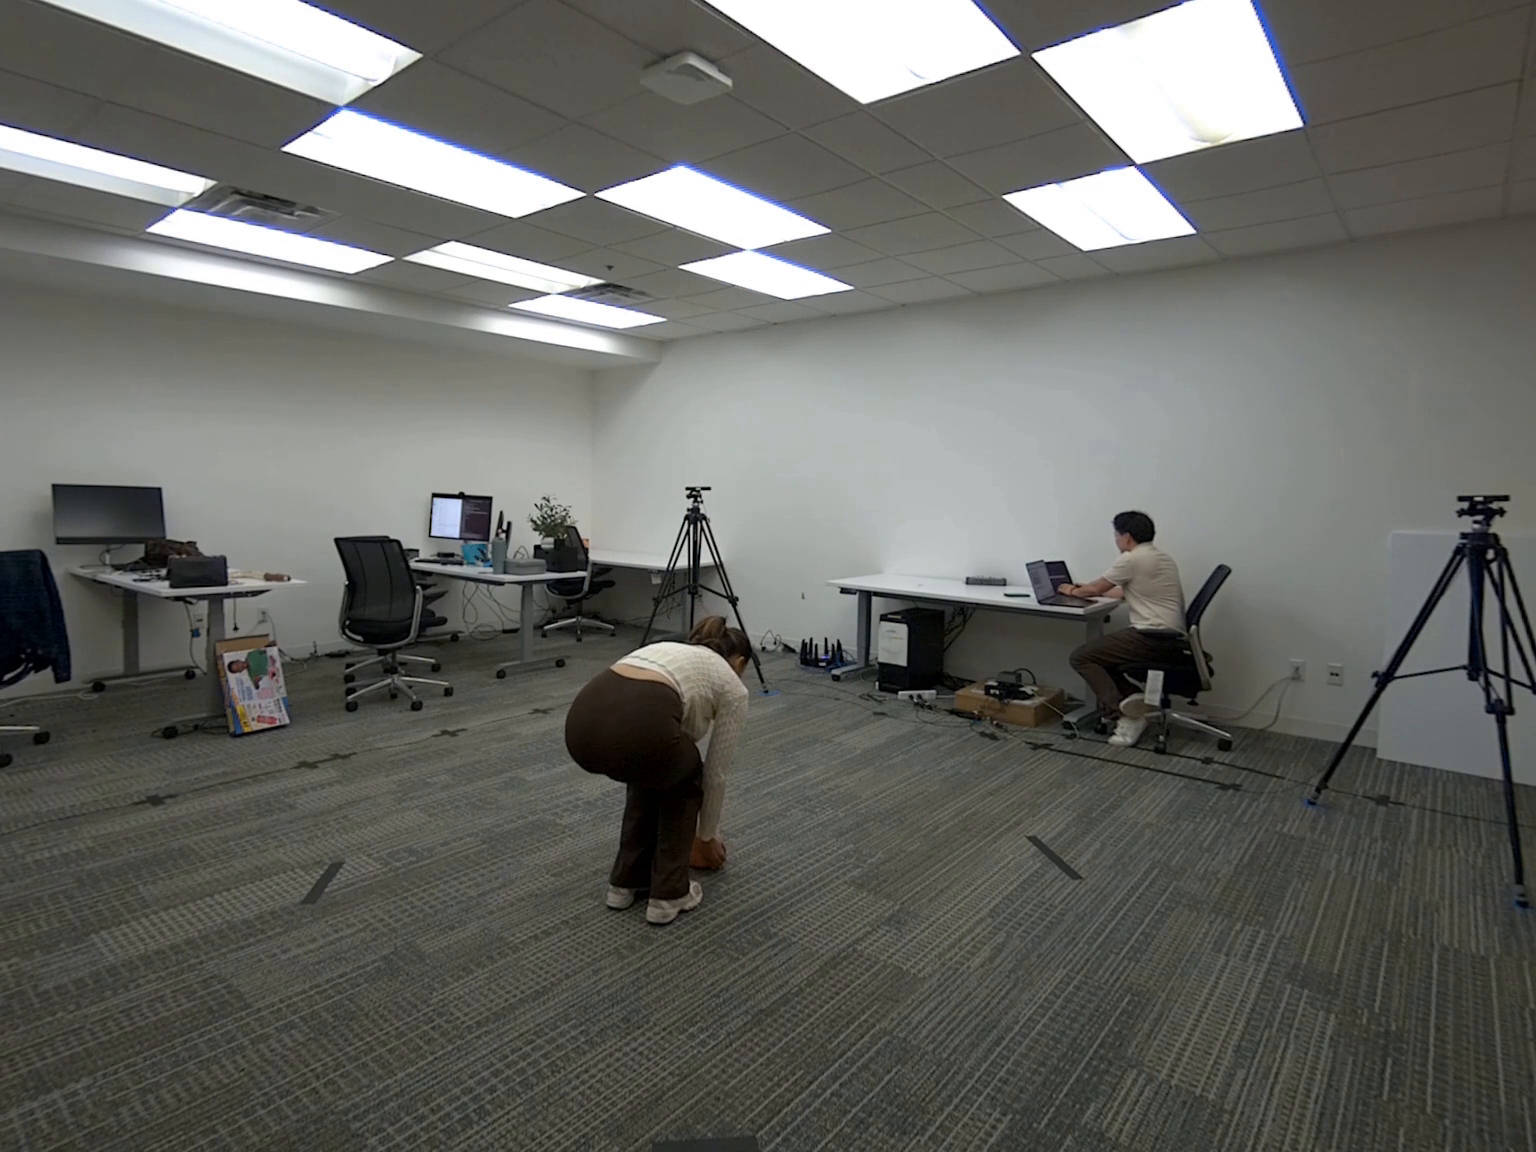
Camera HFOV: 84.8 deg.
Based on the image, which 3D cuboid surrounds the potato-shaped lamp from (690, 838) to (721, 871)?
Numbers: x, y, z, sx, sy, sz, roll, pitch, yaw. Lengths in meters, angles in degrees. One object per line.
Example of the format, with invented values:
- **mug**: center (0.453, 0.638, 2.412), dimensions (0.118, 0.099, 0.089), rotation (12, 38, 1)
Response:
- **potato-shaped lamp**: center (-0.267, 0.958, 3.147), dimensions (0.168, 0.197, 0.169), rotation (-7, 7, -23)
